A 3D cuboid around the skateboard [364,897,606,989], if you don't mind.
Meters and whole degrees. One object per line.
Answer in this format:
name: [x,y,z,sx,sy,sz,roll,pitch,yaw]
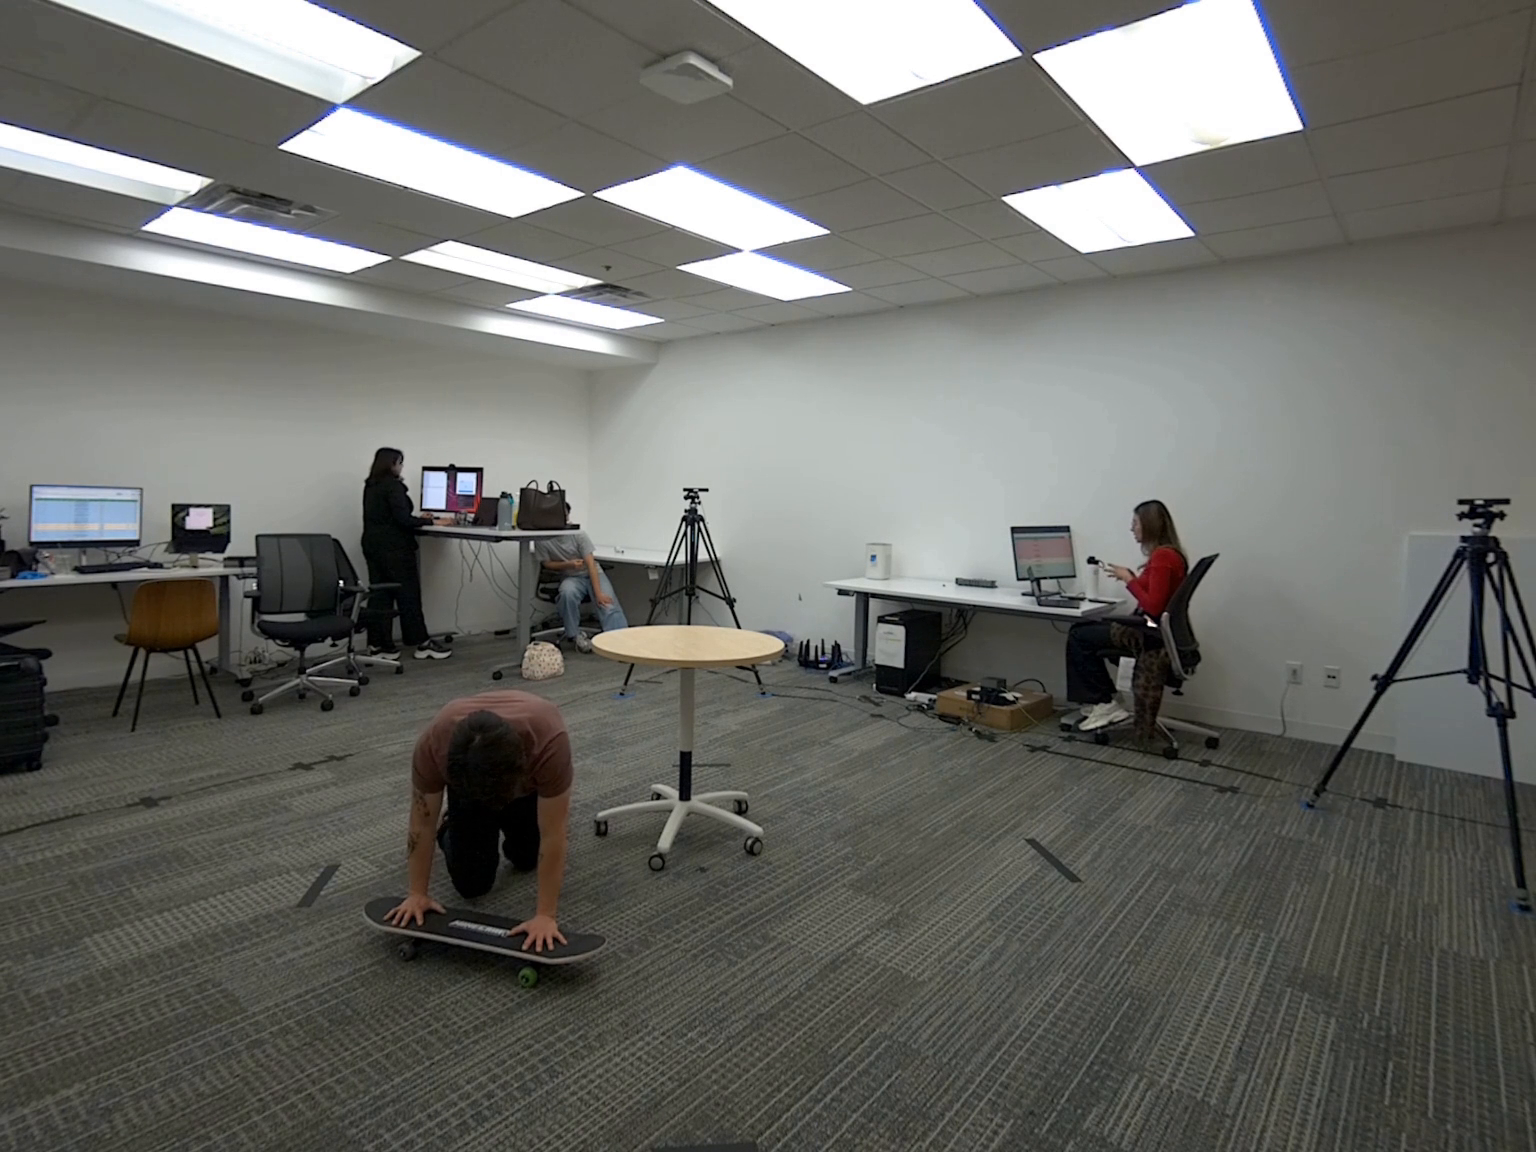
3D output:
skateboard: [-0.847,1.066,2.494,0.800,0.110,0.190,2,1,17]
